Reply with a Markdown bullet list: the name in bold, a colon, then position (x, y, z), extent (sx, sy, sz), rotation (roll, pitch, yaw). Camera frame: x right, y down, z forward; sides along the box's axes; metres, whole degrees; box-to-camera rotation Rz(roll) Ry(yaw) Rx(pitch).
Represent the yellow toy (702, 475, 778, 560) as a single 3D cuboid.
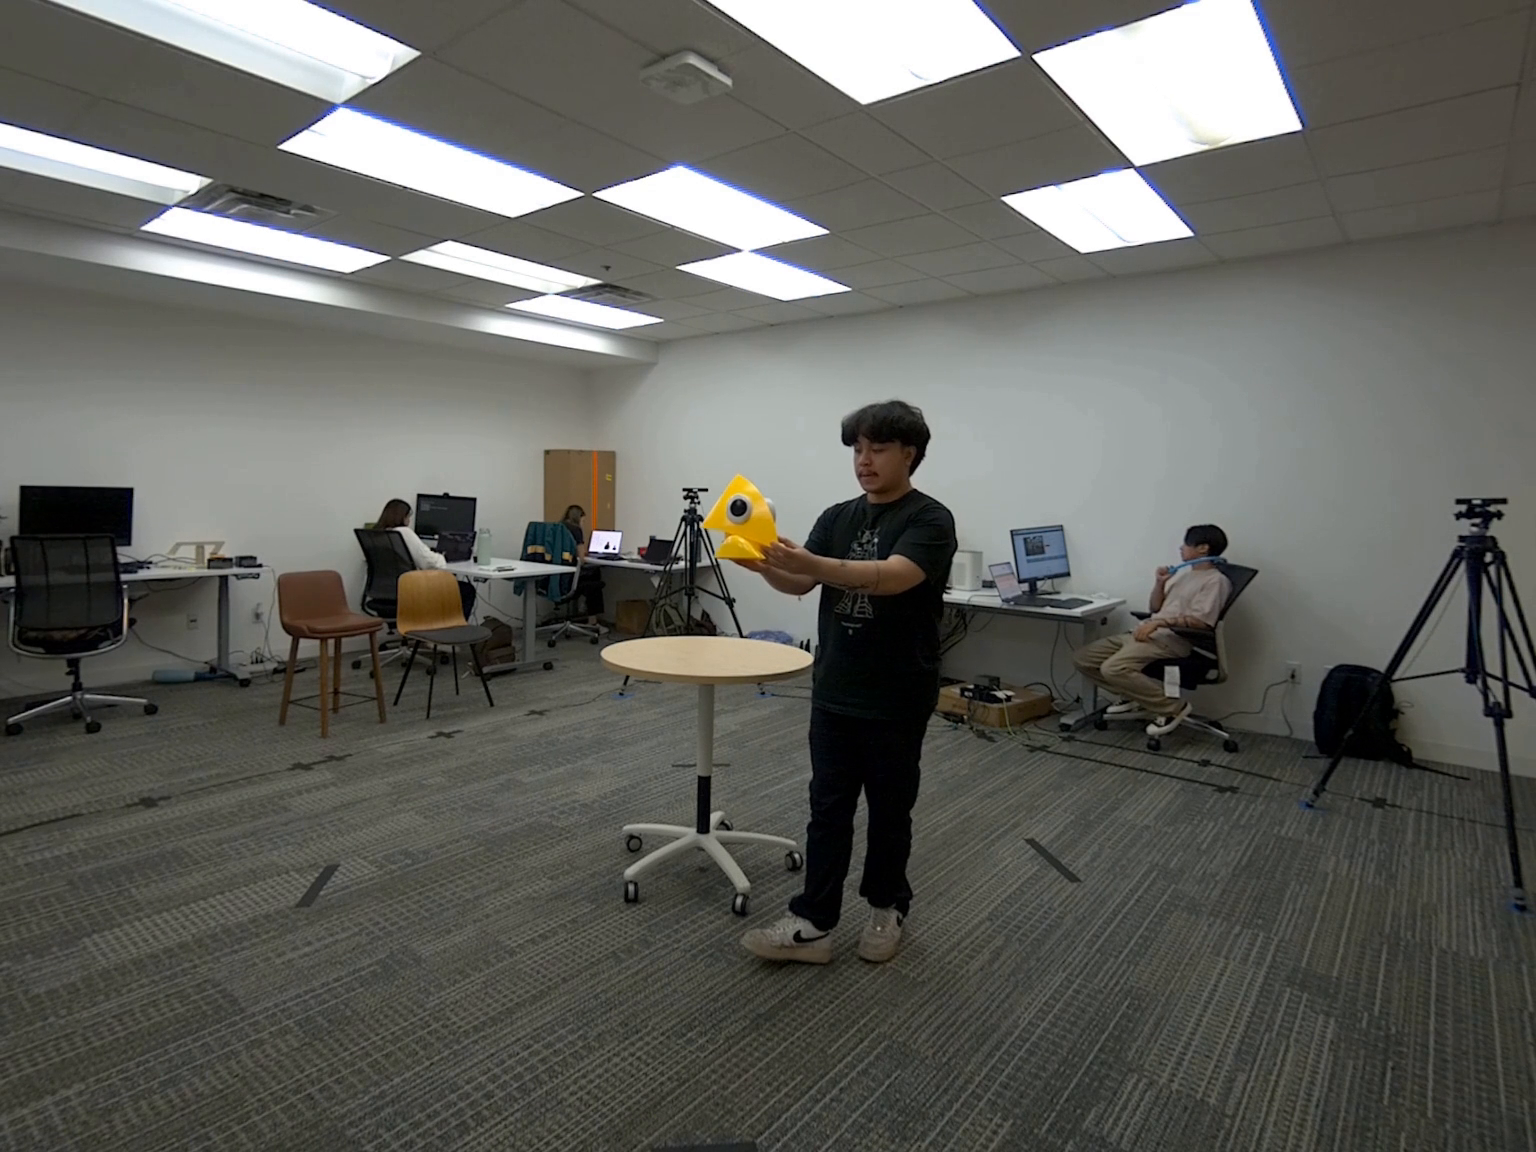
- **yellow toy**: position (-0.049, -0.160, 2.224), extent (0.199, 0.231, 0.198), rotation (-1, -4, 45)
